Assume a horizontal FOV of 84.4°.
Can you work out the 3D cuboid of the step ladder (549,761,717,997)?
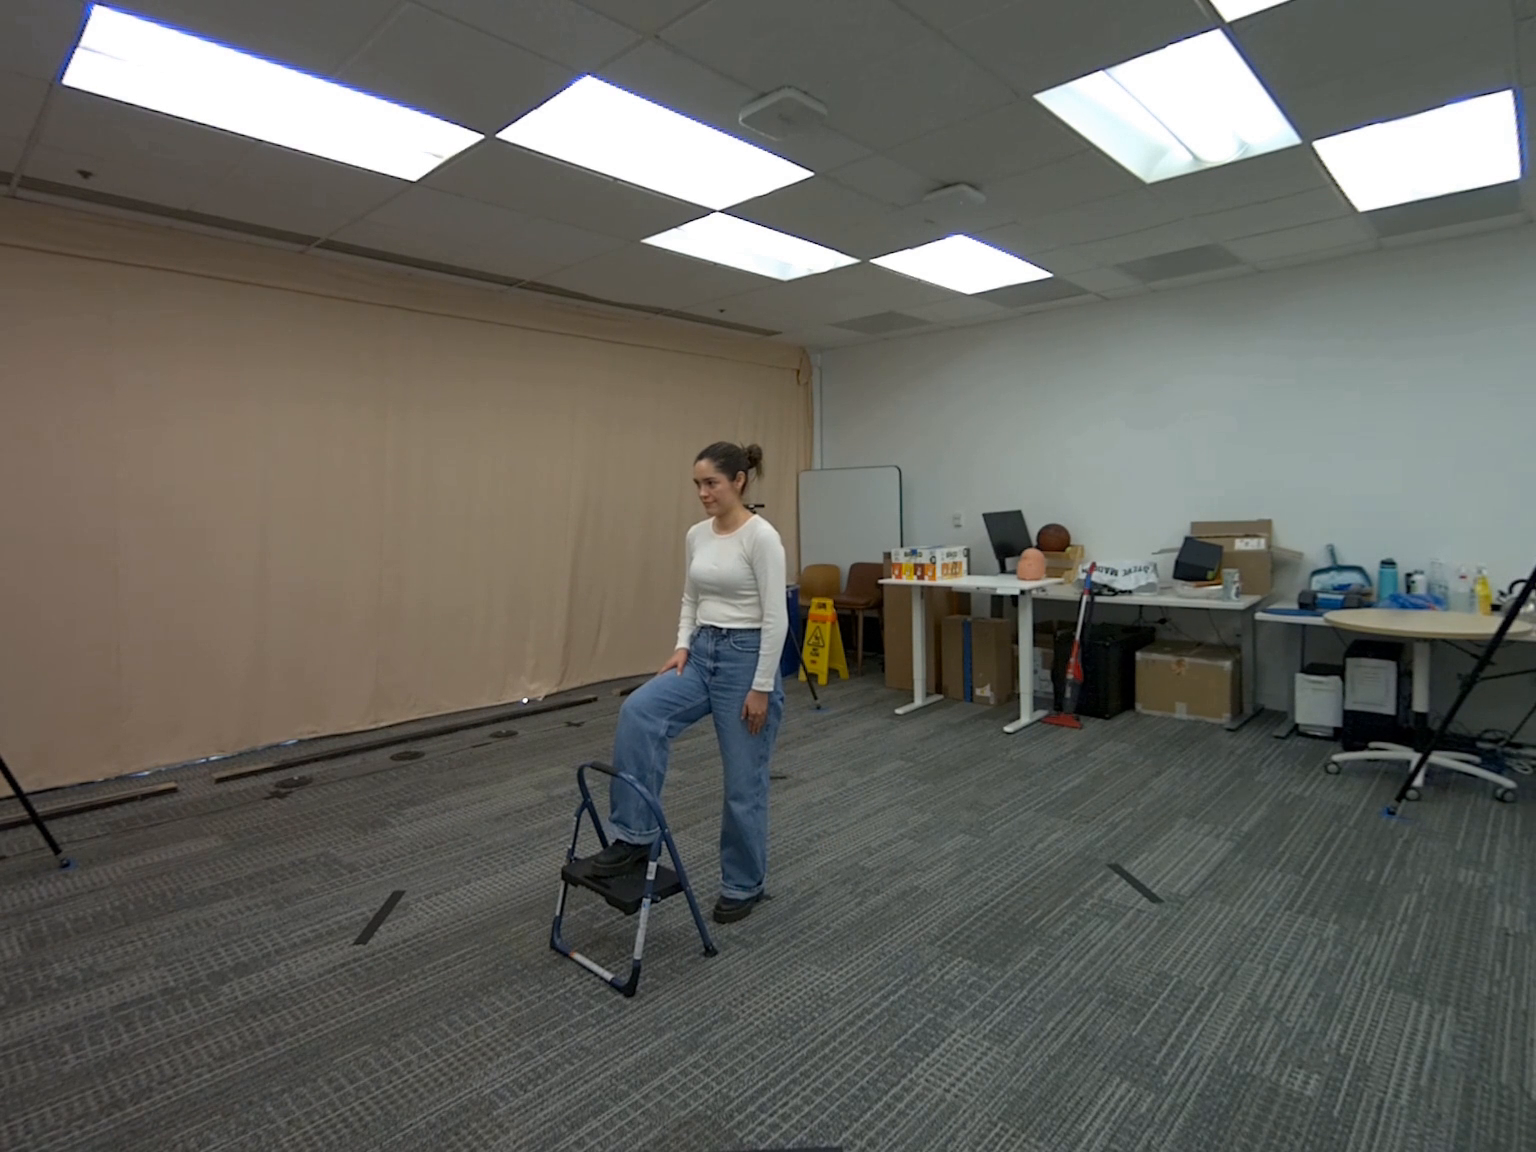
[{"bbox_3d":[-0.433,0.878,2.631,0.445,0.605,0.339,2,4,43],"label":"step ladder"}]
